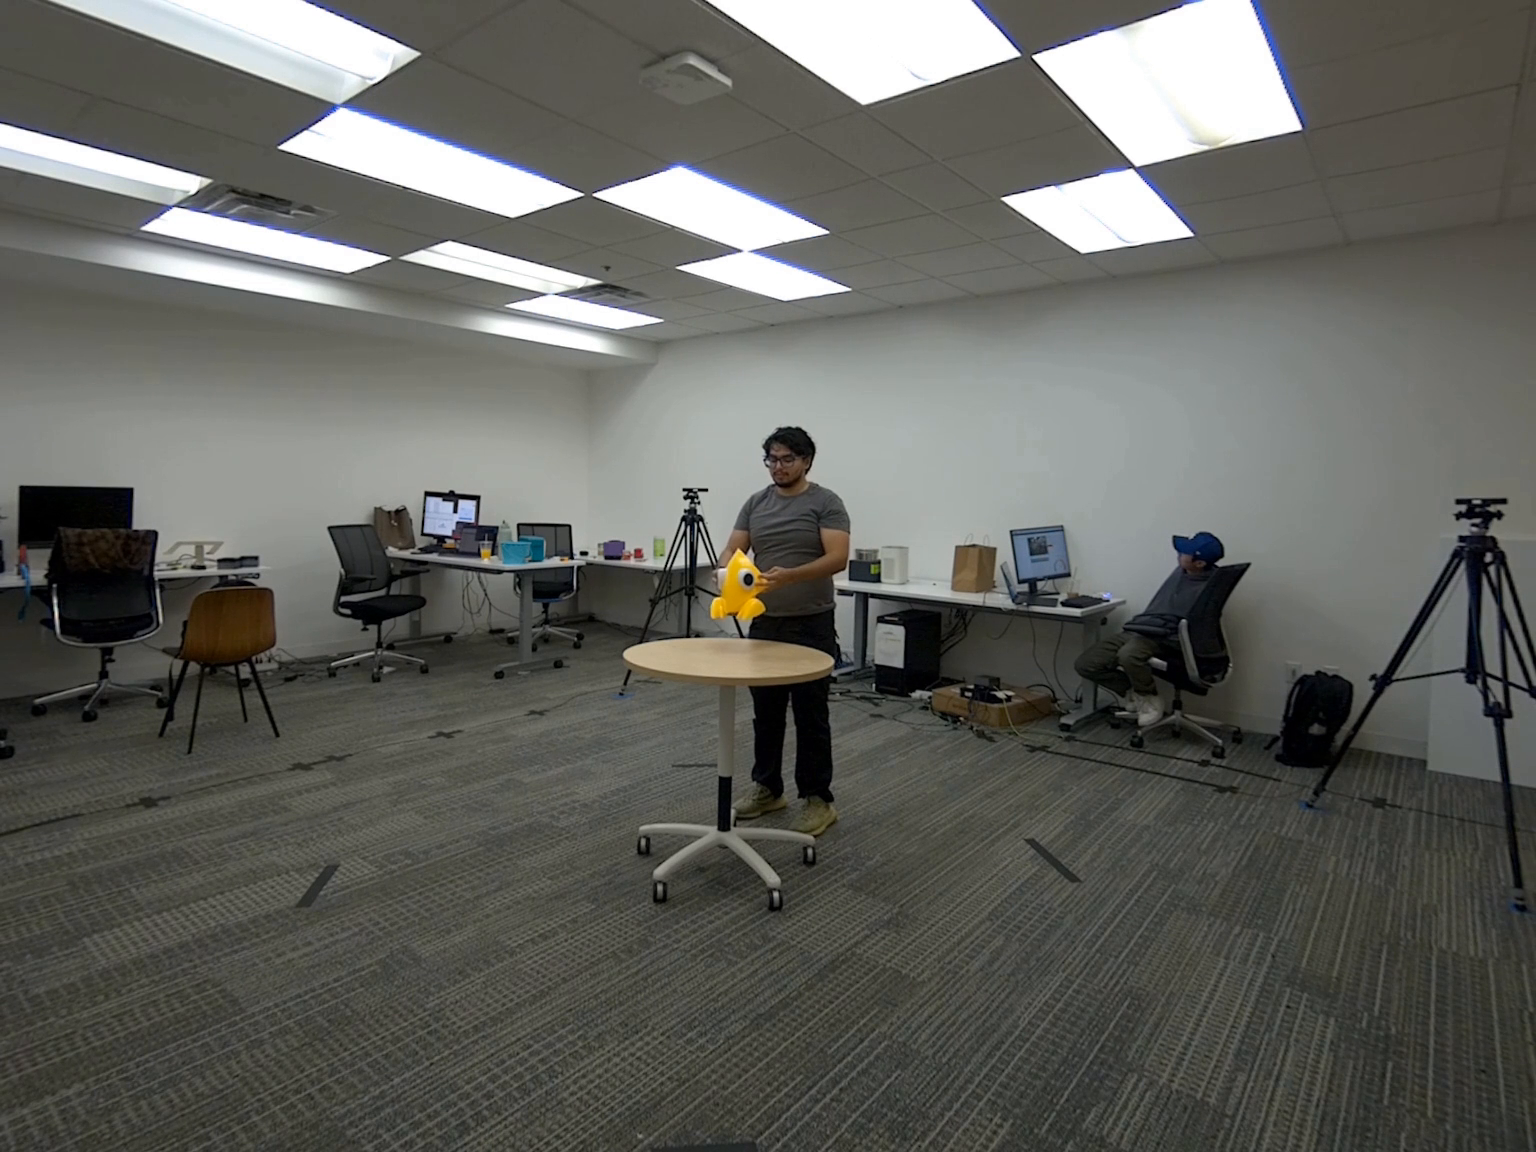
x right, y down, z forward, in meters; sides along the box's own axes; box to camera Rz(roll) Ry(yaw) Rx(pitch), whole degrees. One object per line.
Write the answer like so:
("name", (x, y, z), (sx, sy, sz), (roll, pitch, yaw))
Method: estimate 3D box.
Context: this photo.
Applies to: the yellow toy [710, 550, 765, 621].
("yellow toy", (-0.133, 0.020, 3.201), (0.210, 0.227, 0.191), (1, 16, 28))
